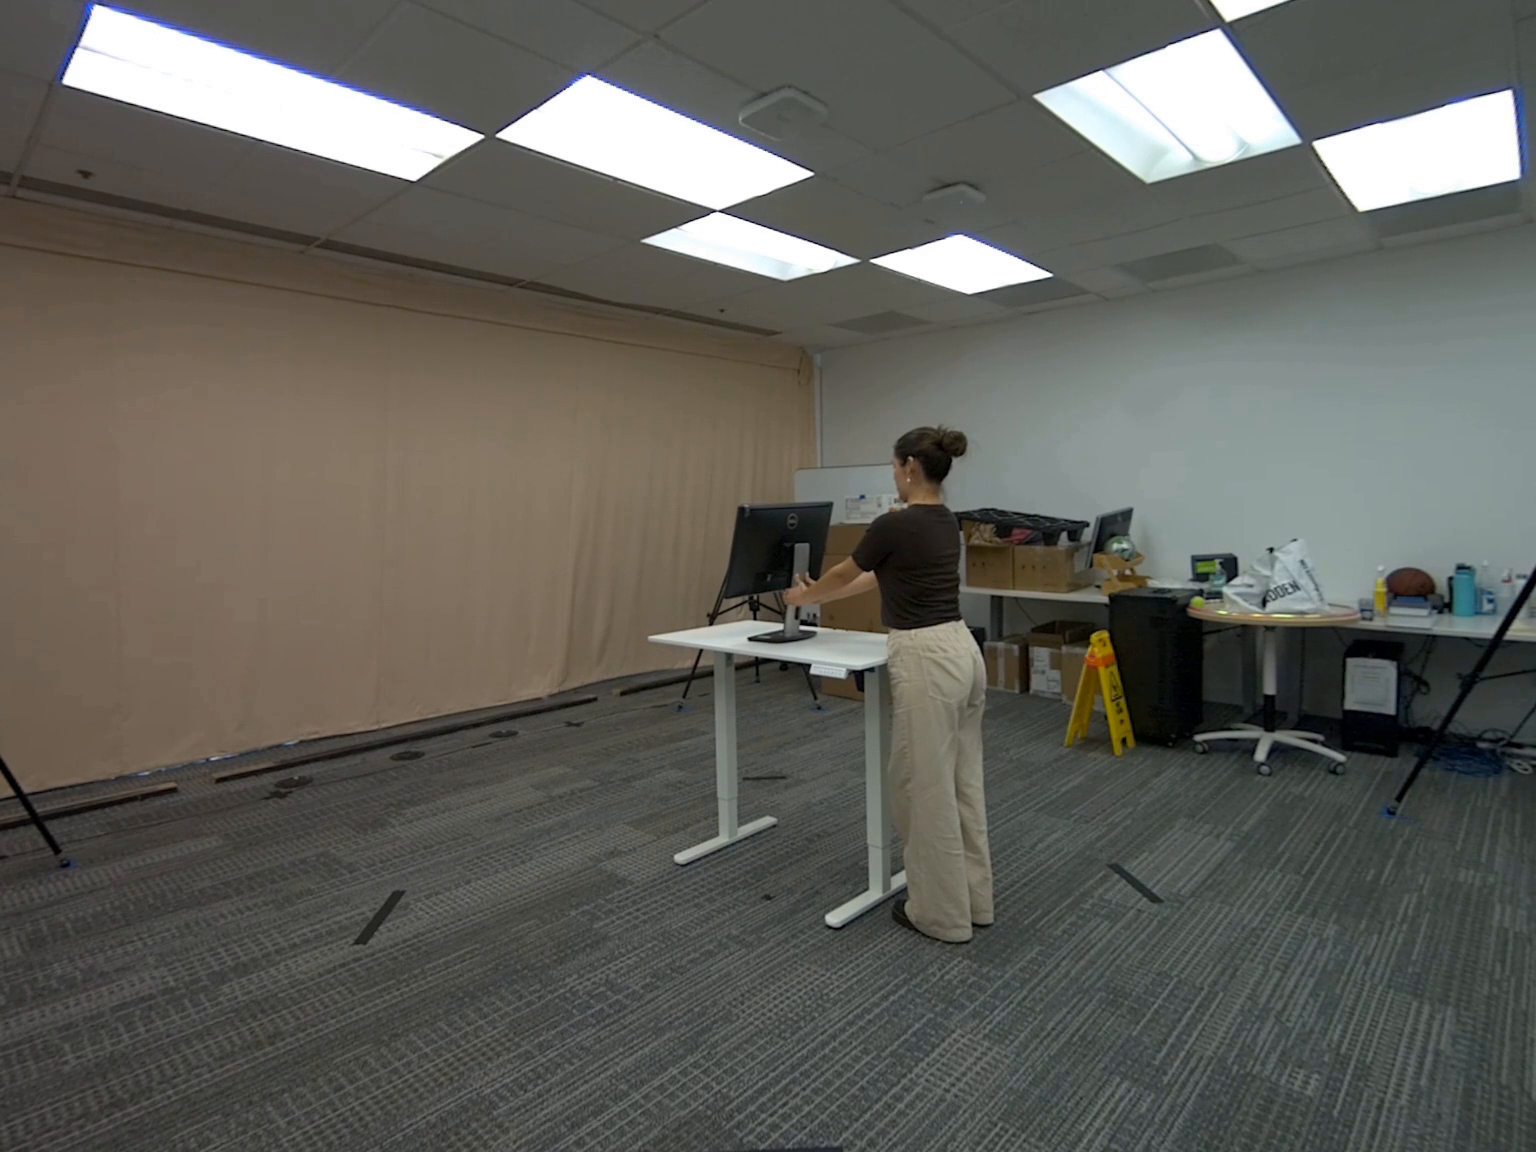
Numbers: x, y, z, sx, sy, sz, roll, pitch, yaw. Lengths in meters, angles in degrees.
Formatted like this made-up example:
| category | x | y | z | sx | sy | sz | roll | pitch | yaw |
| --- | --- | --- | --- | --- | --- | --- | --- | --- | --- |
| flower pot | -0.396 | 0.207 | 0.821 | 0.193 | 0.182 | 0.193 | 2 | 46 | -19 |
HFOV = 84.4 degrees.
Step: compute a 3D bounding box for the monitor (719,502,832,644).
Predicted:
| category | x | y | z | sx | sy | sz | roll | pitch | yaw |
| --- | --- | --- | --- | --- | --- | --- | --- | --- | --- |
| monitor | 0.075 | -0.014 | 3.196 | 0.193 | 0.521 | 0.523 | 4 | 7 | 41 |
